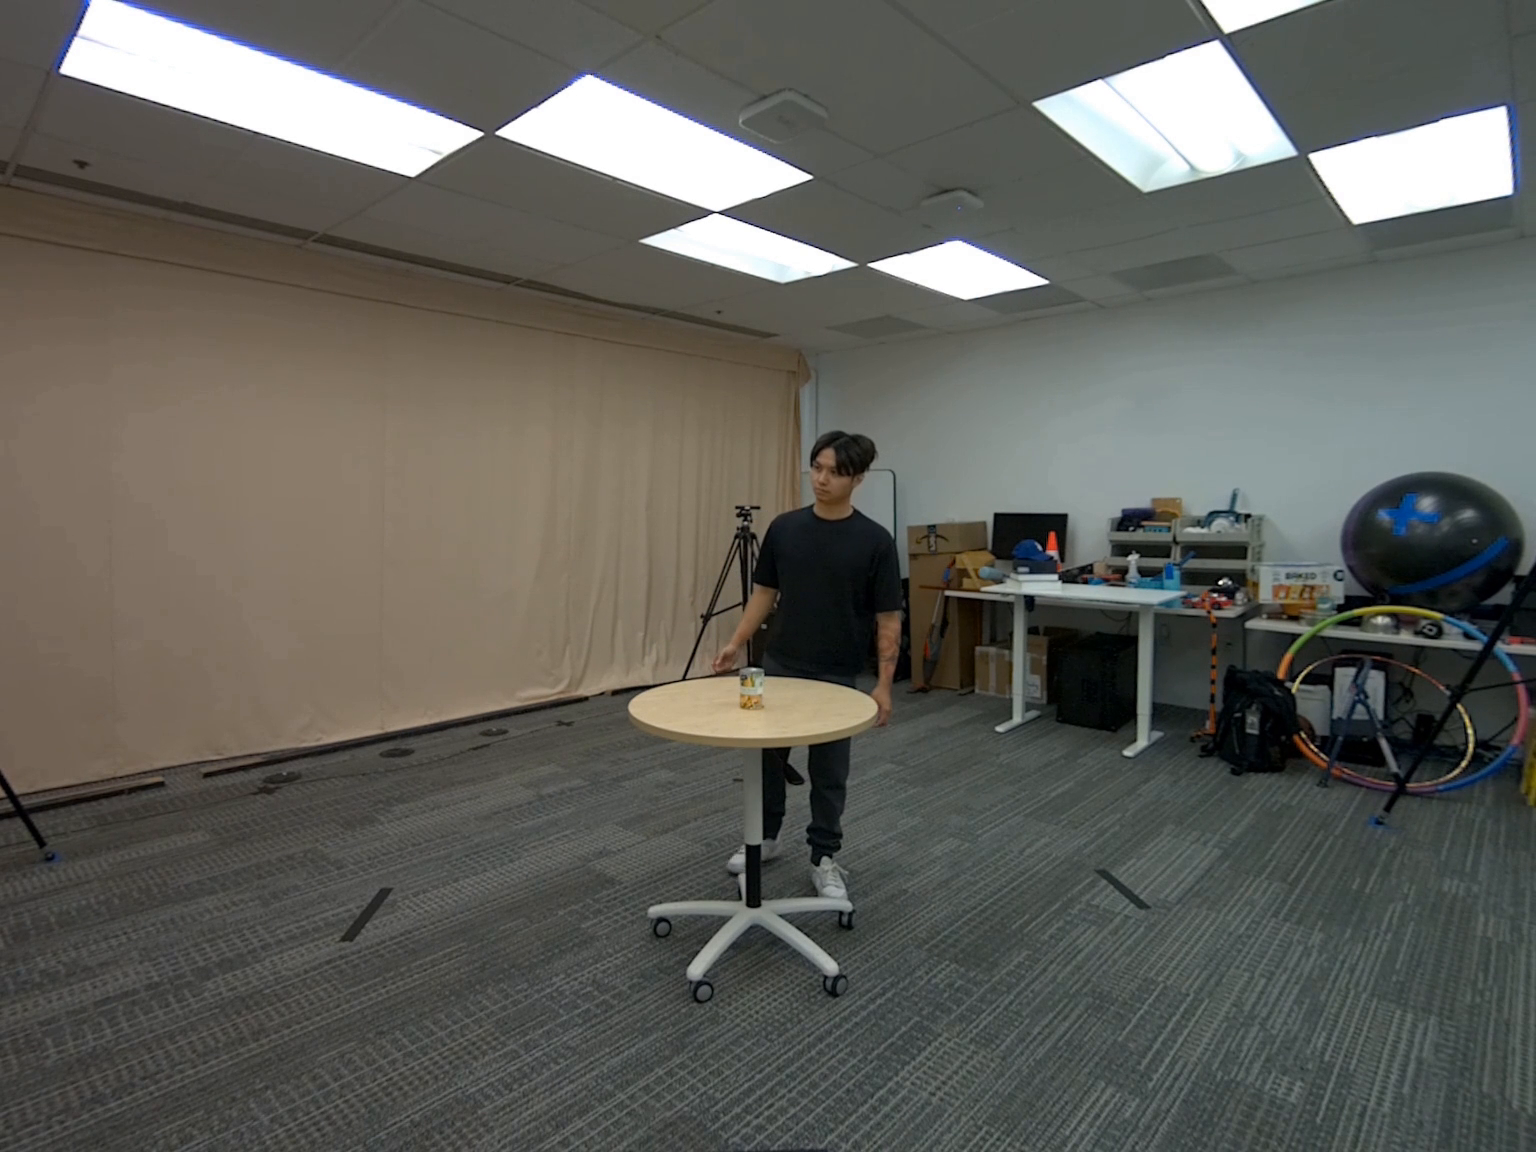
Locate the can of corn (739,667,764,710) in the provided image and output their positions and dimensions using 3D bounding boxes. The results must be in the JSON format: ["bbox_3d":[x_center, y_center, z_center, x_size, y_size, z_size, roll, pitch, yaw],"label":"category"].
[{"bbox_3d":[-0.049,0.343,2.553,0.074,0.111,0.074,-3,5,-2],"label":"can of corn"}]
